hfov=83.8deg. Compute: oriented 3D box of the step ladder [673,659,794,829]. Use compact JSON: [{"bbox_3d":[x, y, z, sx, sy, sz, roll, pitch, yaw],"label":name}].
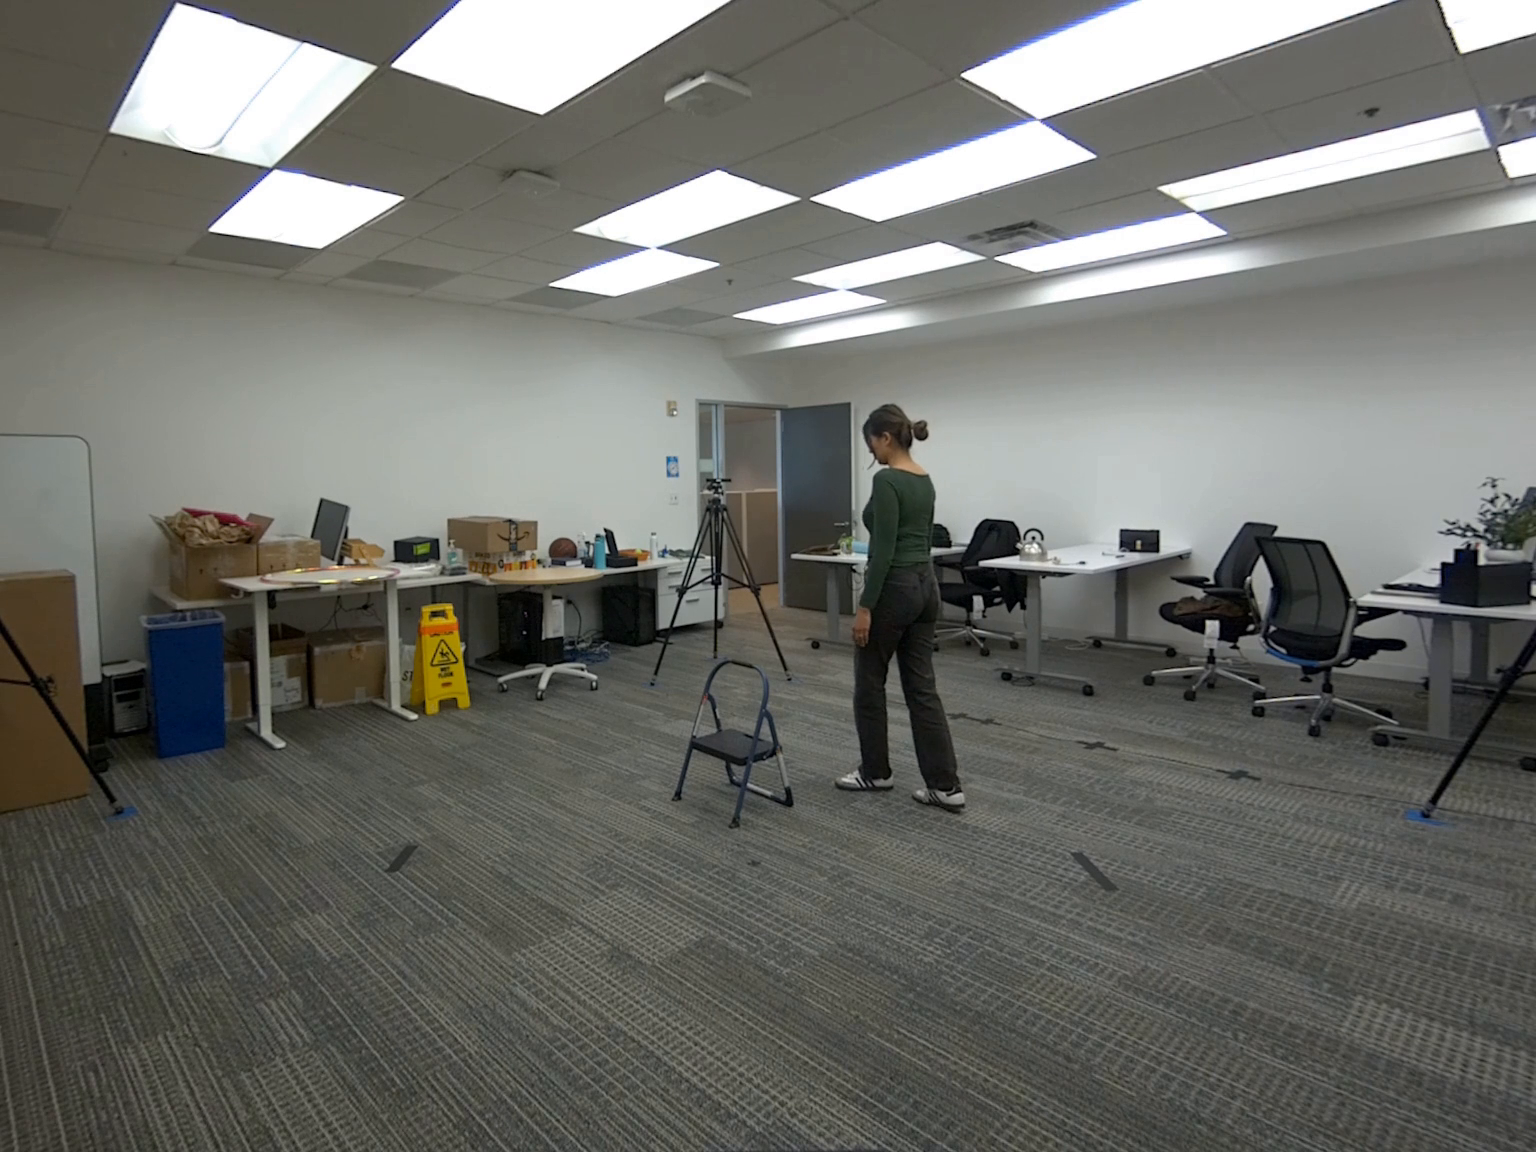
[{"bbox_3d":[-0.157,0.678,3.671,0.340,0.604,0.444,-4,5,-41],"label":"step ladder"}]
